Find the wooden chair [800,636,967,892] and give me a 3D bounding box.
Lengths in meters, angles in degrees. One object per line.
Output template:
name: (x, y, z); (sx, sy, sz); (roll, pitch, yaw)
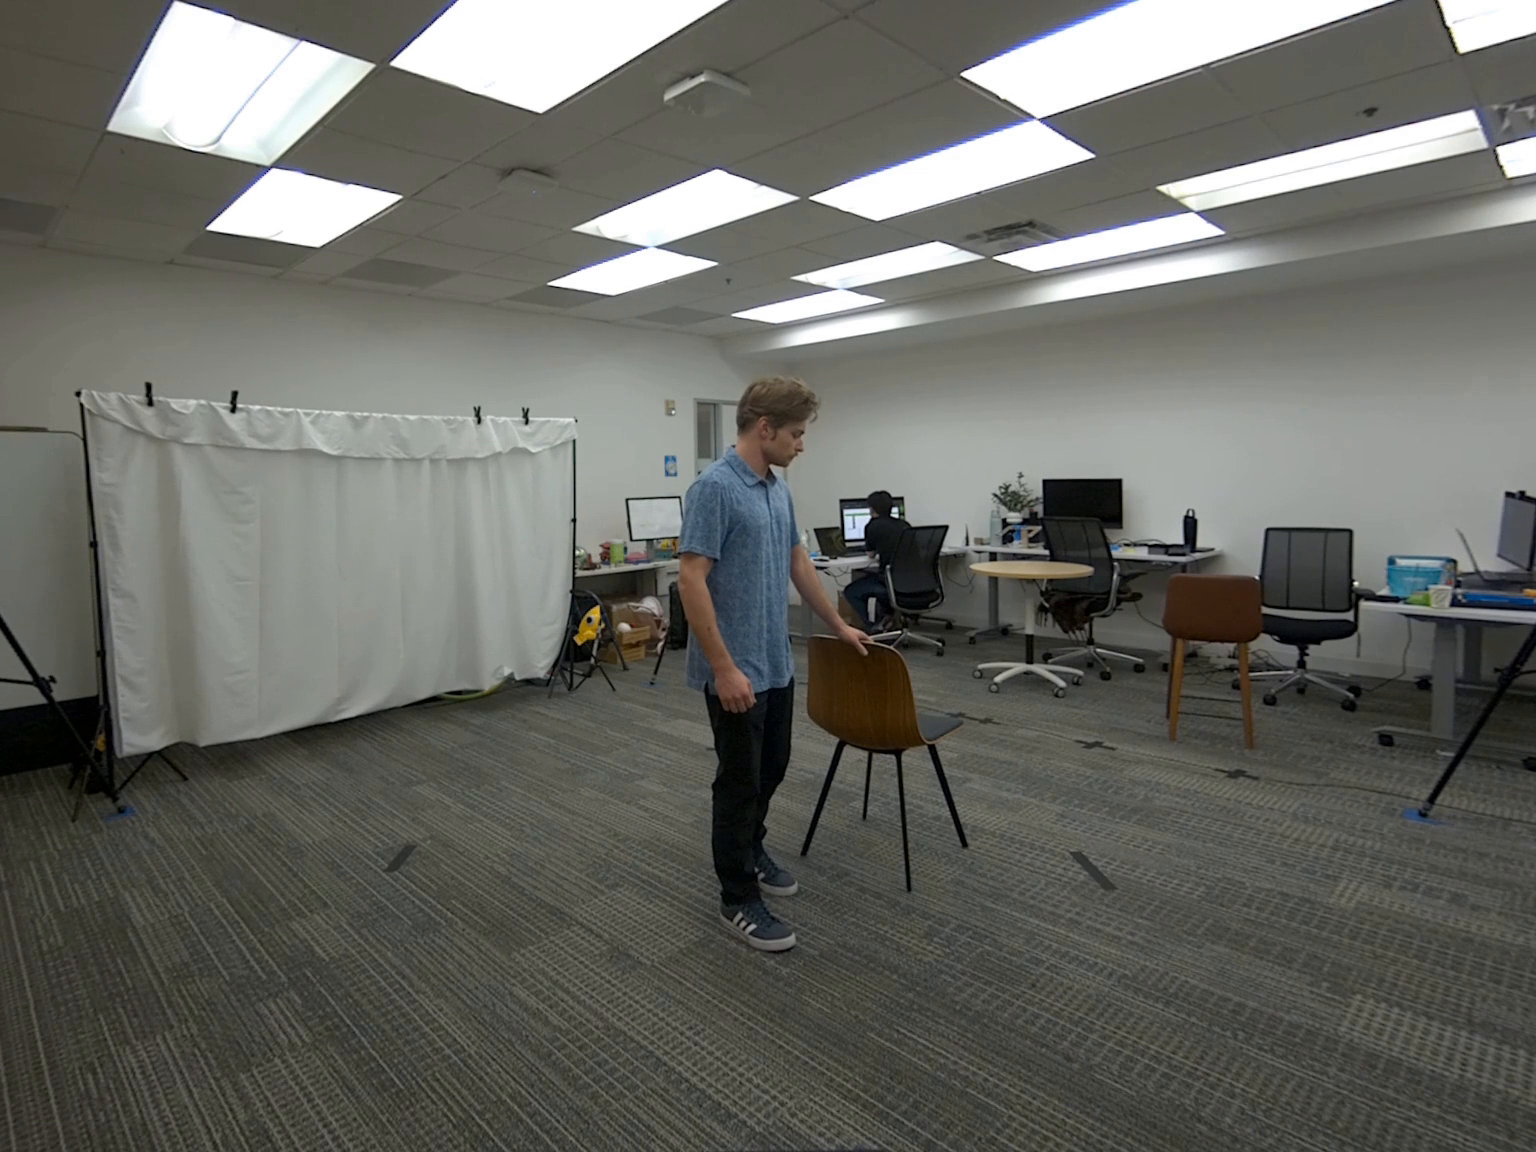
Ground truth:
wooden chair: (0.431, 0.598, 3.158); (0.492, 0.871, 0.511); (2, 9, 39)
